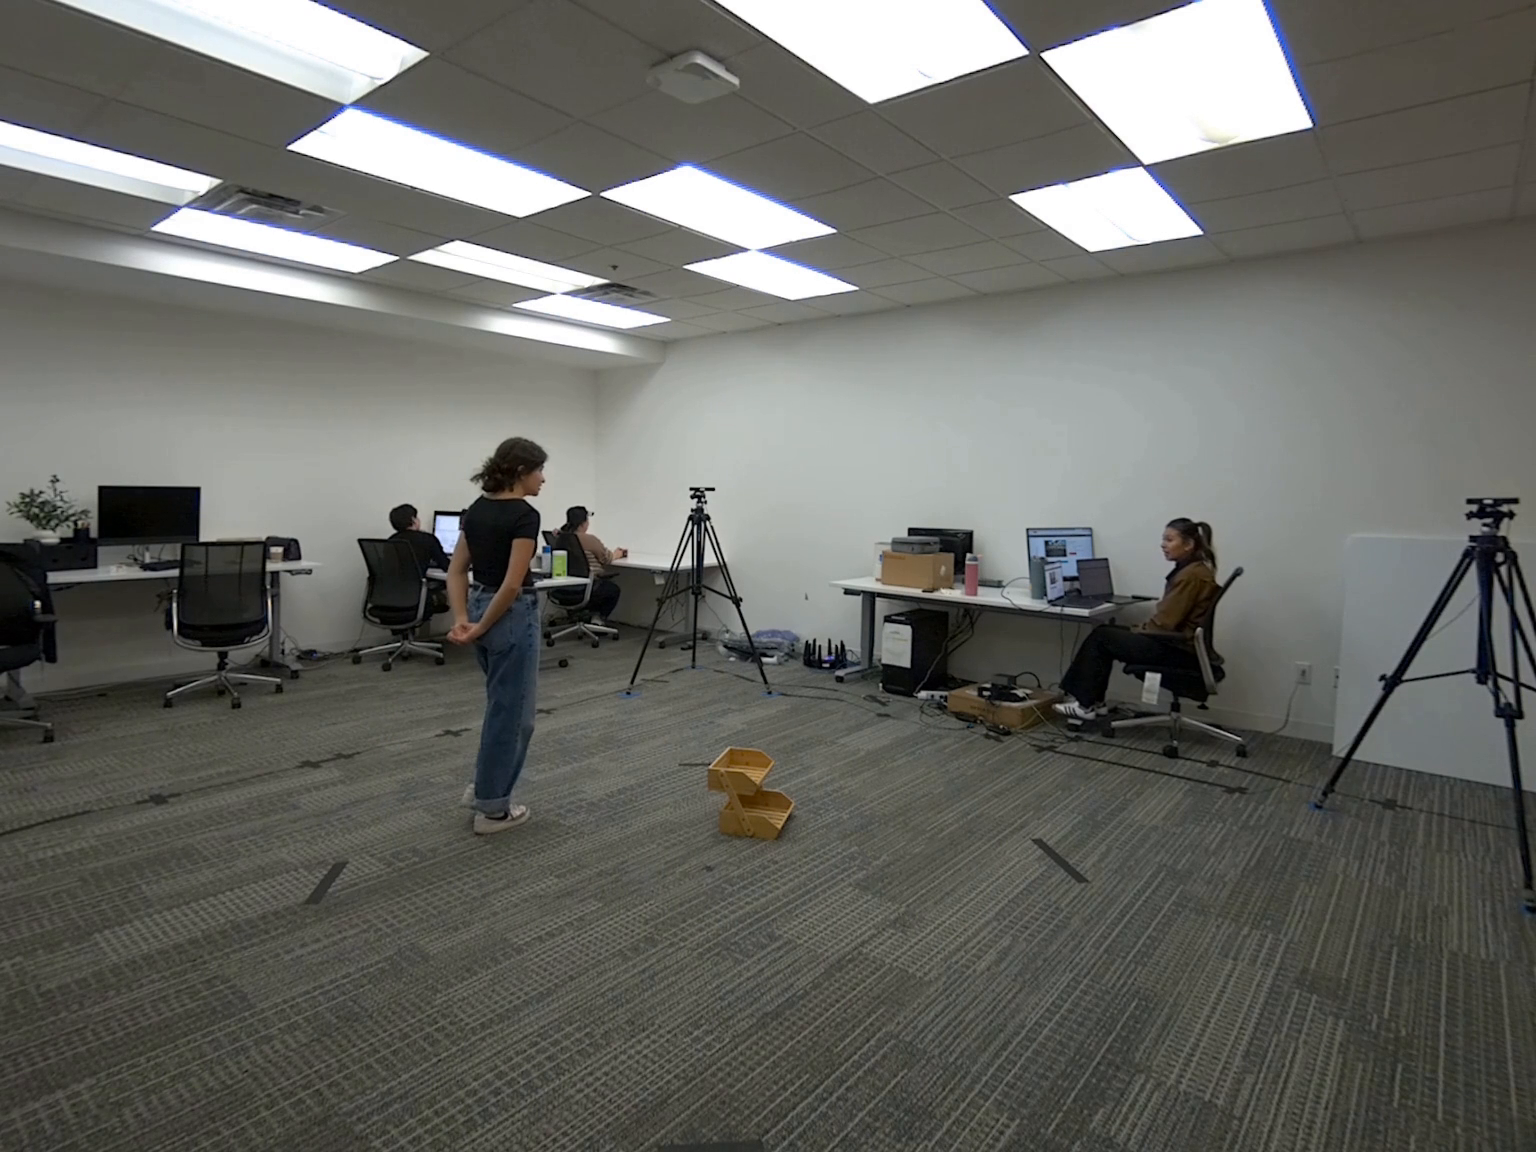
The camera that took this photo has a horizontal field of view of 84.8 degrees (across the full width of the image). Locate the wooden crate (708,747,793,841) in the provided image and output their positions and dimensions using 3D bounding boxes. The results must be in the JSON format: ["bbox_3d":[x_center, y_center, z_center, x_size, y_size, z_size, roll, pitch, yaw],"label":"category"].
[{"bbox_3d":[-0.067,0.893,3.547,0.307,0.272,0.320,2,4,15],"label":"wooden crate"}]
